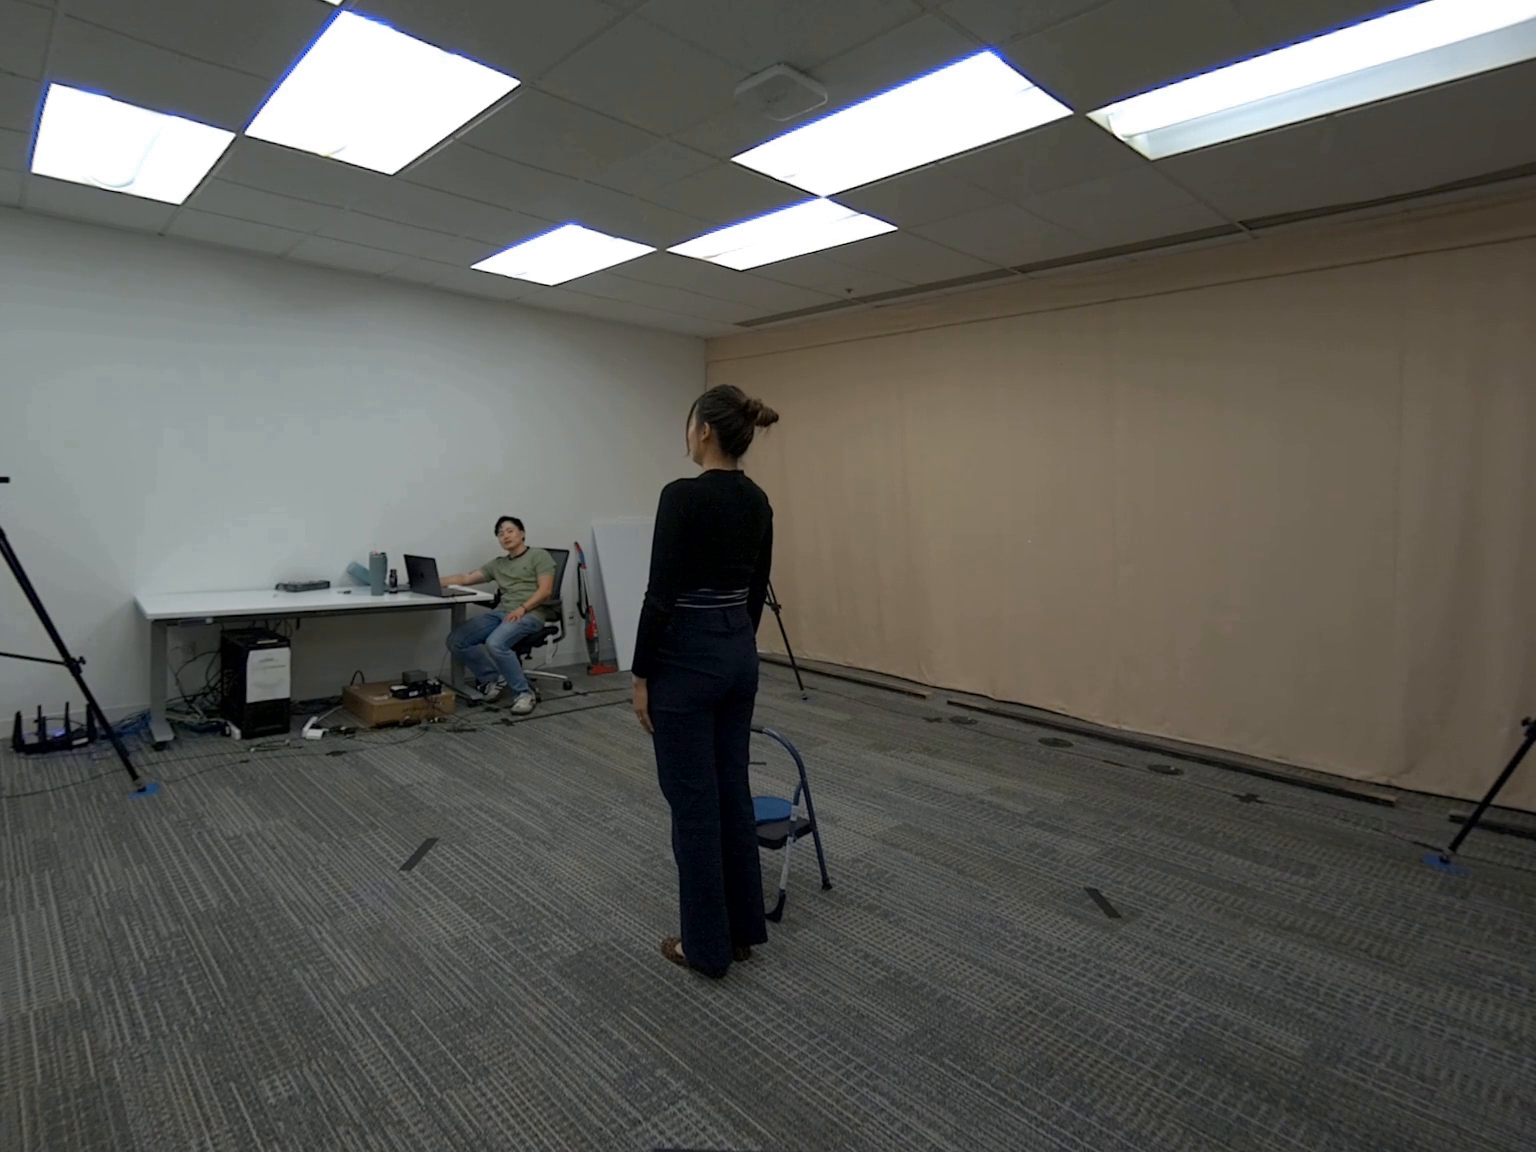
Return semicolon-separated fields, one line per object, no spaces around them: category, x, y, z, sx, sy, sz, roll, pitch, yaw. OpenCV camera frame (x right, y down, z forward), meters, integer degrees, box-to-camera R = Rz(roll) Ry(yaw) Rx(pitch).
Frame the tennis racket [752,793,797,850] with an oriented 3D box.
tennis racket;-0.030;0.850;2.971;0.215;0.032;0.430;4;3;7
